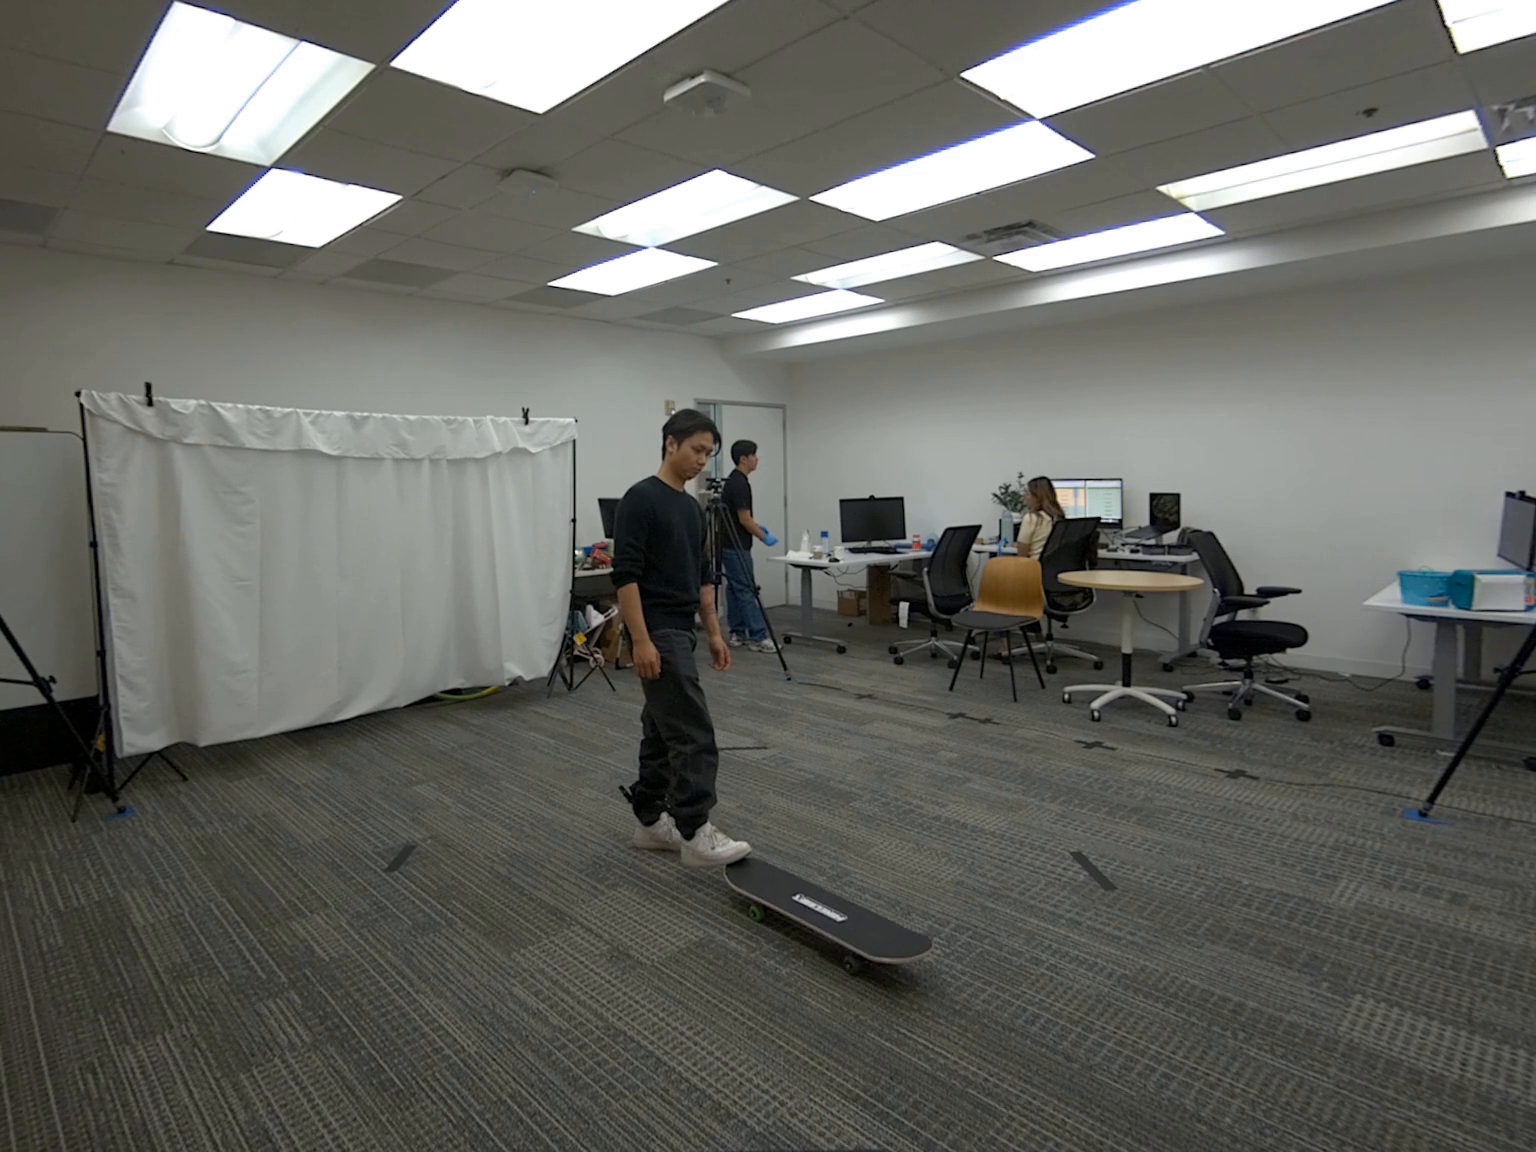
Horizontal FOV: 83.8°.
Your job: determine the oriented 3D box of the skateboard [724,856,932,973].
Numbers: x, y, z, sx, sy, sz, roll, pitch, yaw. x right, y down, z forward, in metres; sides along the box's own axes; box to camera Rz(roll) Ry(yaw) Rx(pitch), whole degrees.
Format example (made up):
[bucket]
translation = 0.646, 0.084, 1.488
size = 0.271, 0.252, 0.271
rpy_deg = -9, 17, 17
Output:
[skateboard]
translation = 0.172, 1.042, 2.595
size = 0.188, 0.110, 0.809
rpy_deg = -7, 8, -42
